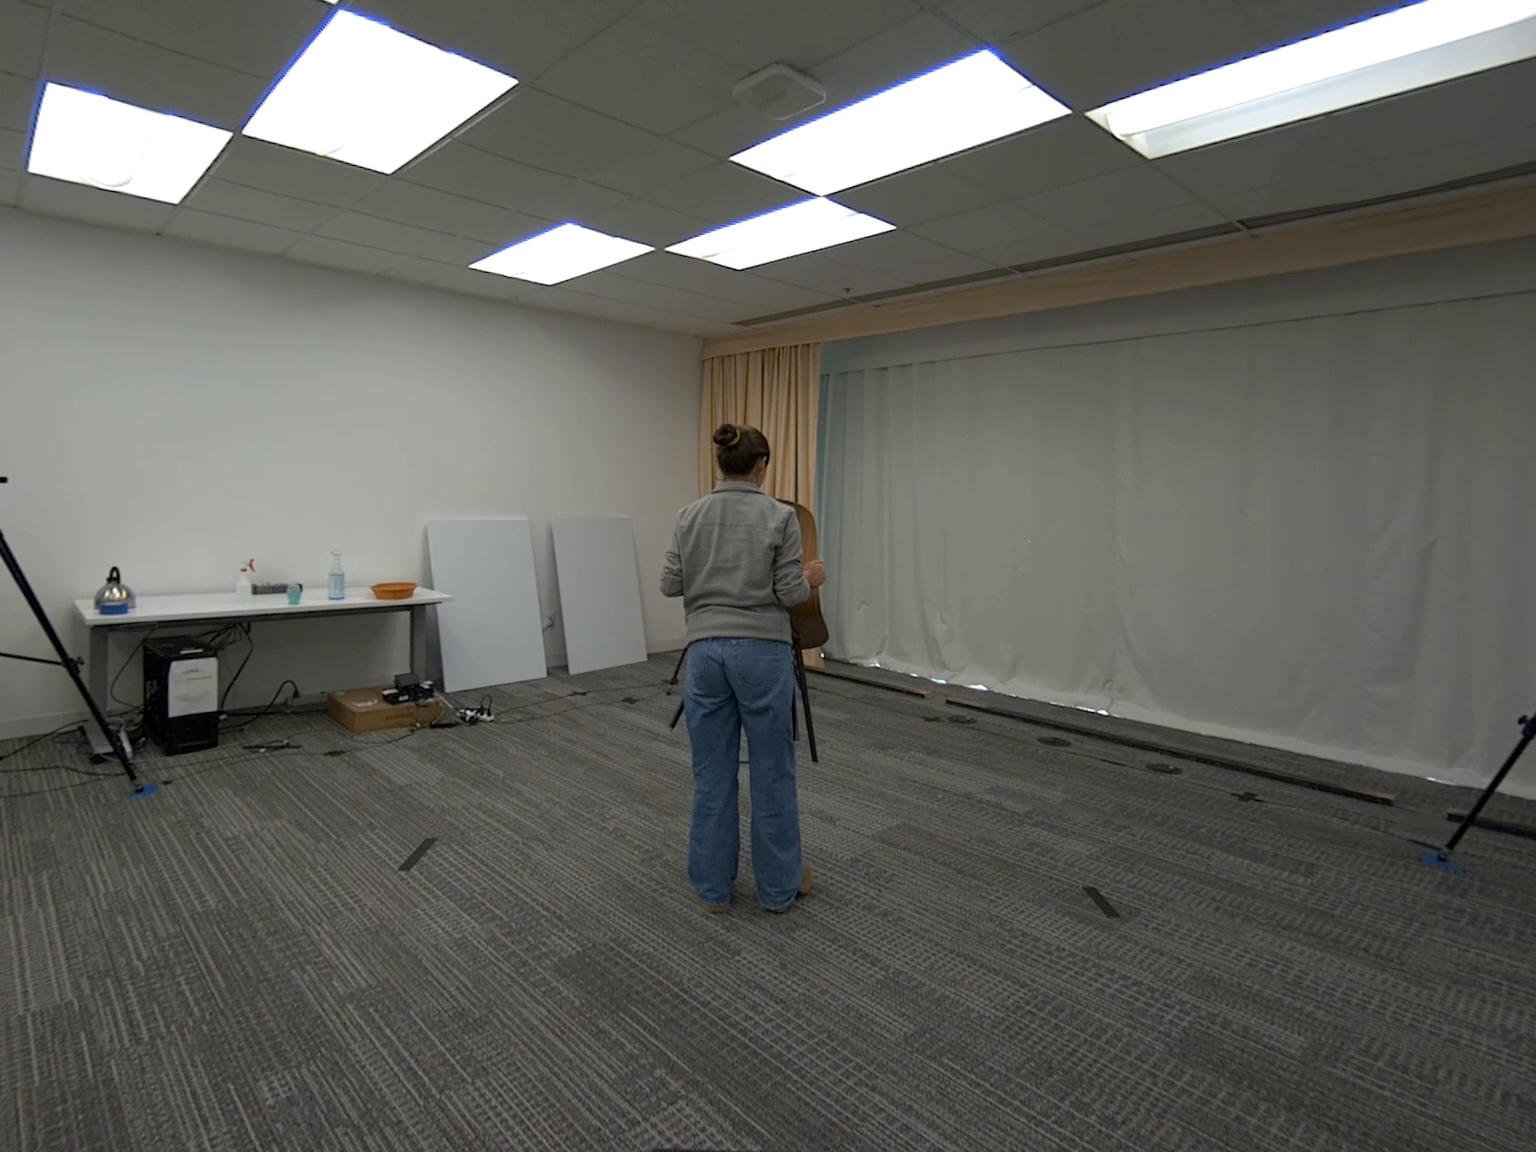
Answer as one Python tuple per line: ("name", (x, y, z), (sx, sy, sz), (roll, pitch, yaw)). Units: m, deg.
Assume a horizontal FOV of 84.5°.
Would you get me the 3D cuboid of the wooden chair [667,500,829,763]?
("wooden chair", (-0.010, 0.216, 3.132), (0.484, 0.886, 0.511), (2, -17, 14))
